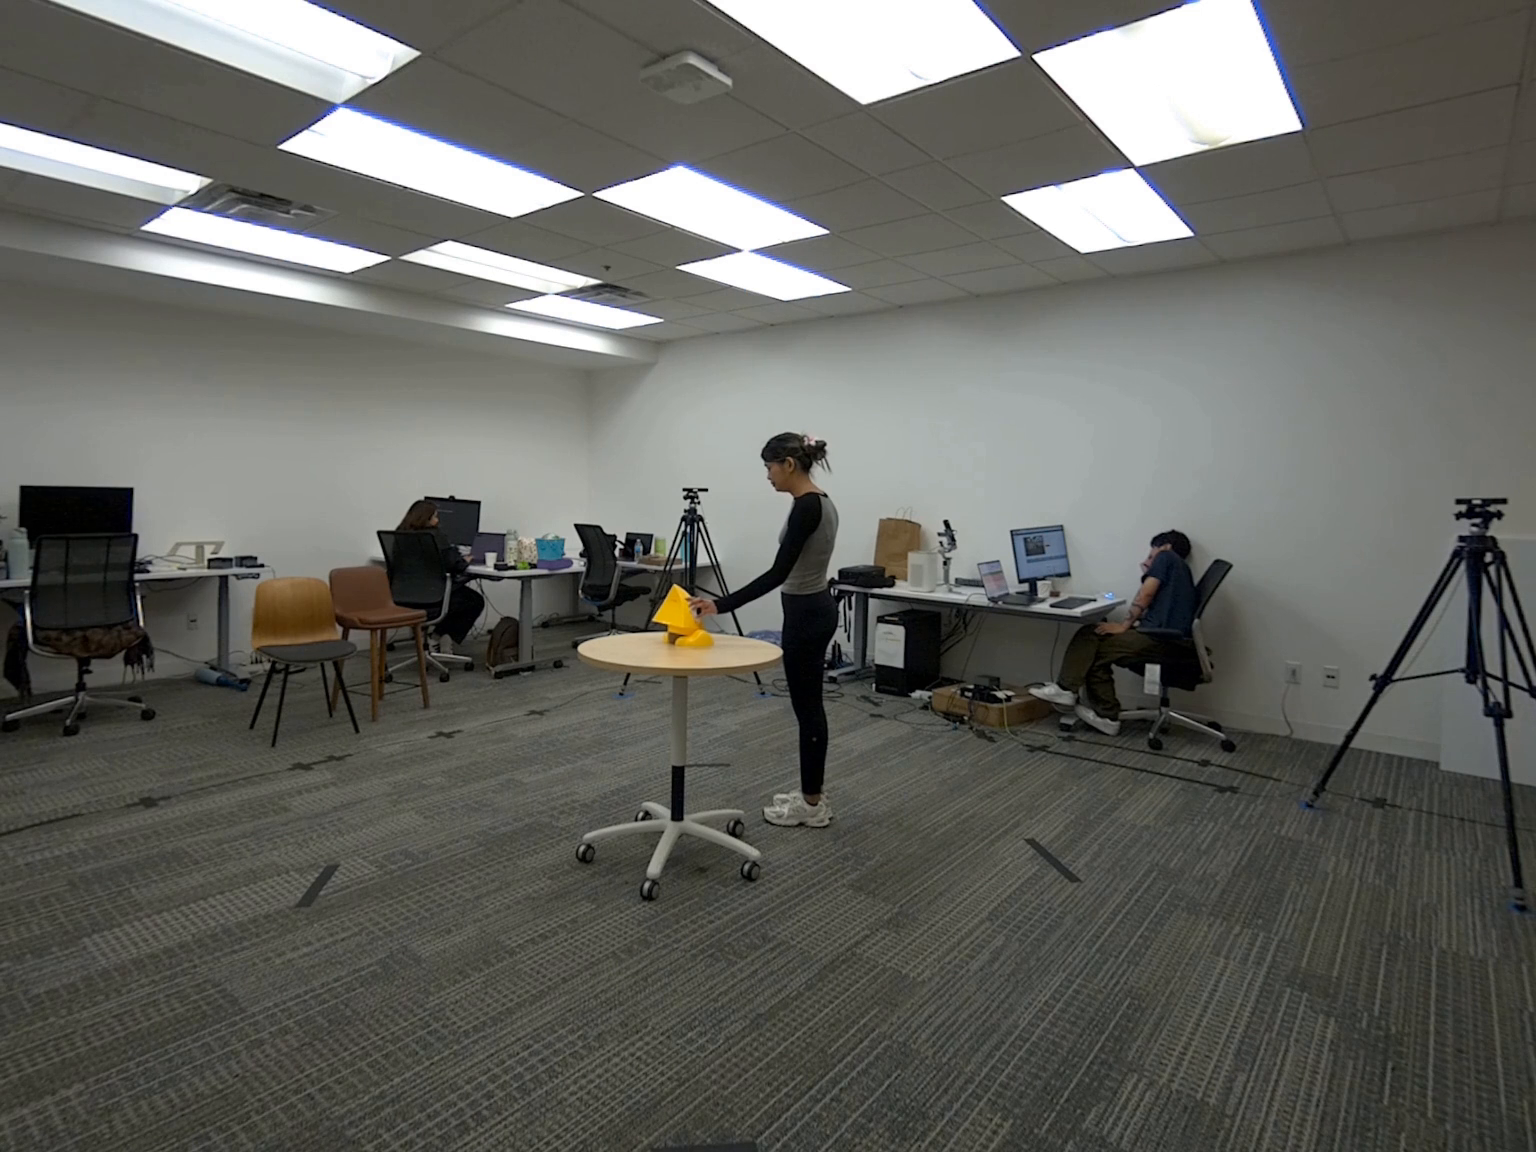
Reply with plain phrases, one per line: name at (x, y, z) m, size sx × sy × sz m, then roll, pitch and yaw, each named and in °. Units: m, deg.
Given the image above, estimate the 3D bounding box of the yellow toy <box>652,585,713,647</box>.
yellow toy at (-0.328, 0.144, 3.319) m, size 0.187 × 0.230 × 0.212 m, roll -1°, pitch 4°, yaw -40°
